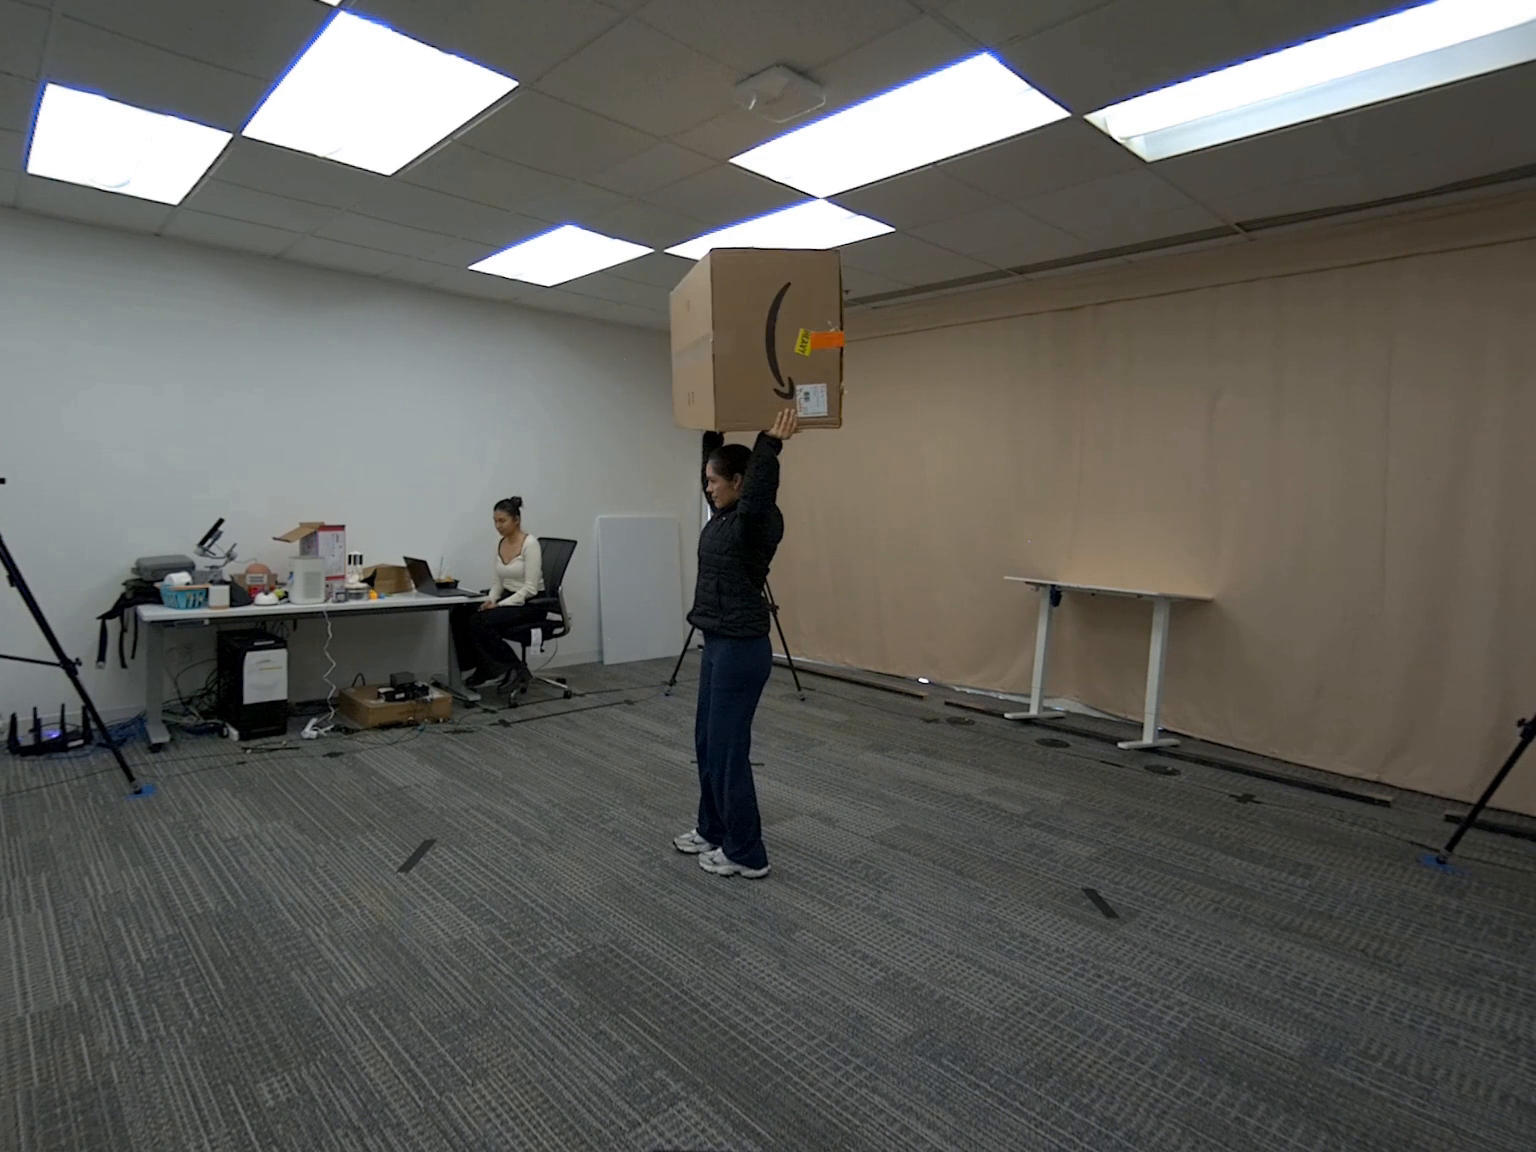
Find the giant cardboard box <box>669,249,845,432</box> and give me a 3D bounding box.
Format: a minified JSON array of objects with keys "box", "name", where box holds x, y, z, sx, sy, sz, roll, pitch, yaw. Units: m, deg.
[{"box":[-0.087,-0.843,3.161,0.442,0.579,1.045,-3,11,-13],"name":"giant cardboard box"}]
